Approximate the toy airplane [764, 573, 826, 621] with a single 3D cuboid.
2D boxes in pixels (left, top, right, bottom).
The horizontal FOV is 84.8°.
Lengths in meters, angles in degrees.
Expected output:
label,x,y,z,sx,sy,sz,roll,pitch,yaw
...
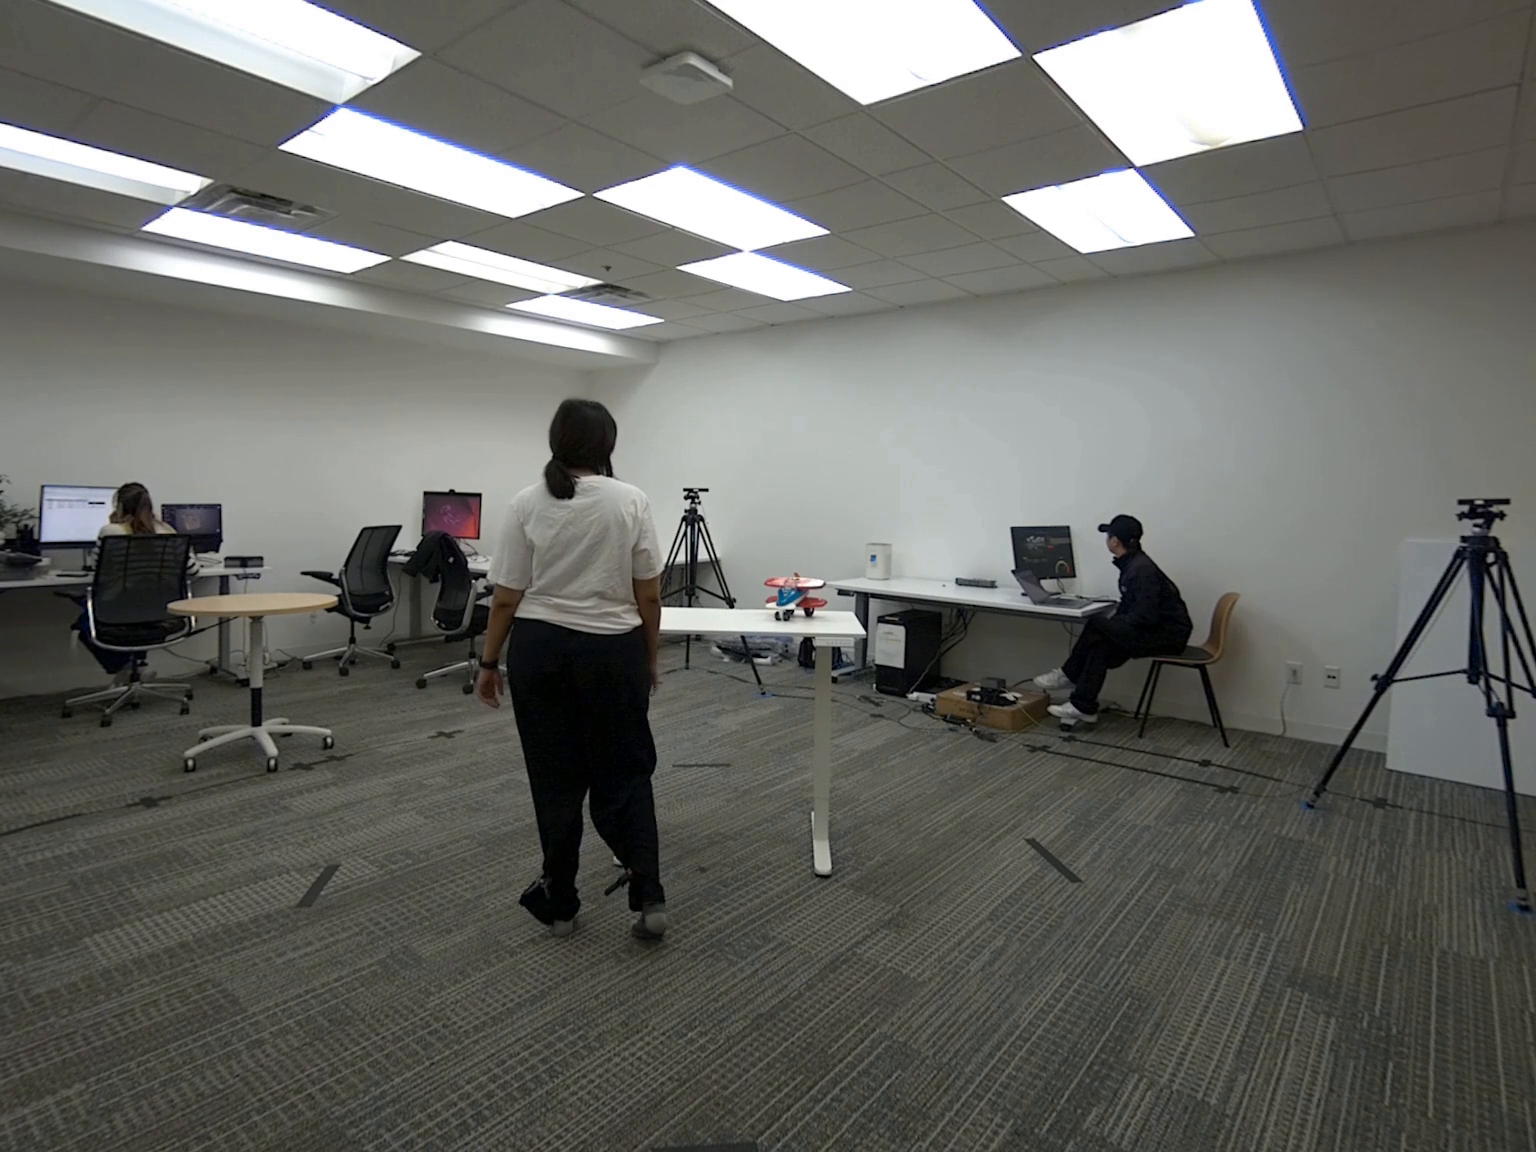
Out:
label,x,y,z,sx,sy,sz,roll,pitch,yaw
toy airplane,0.112,0.086,3.394,0.251,0.156,0.260,0,2,-3
